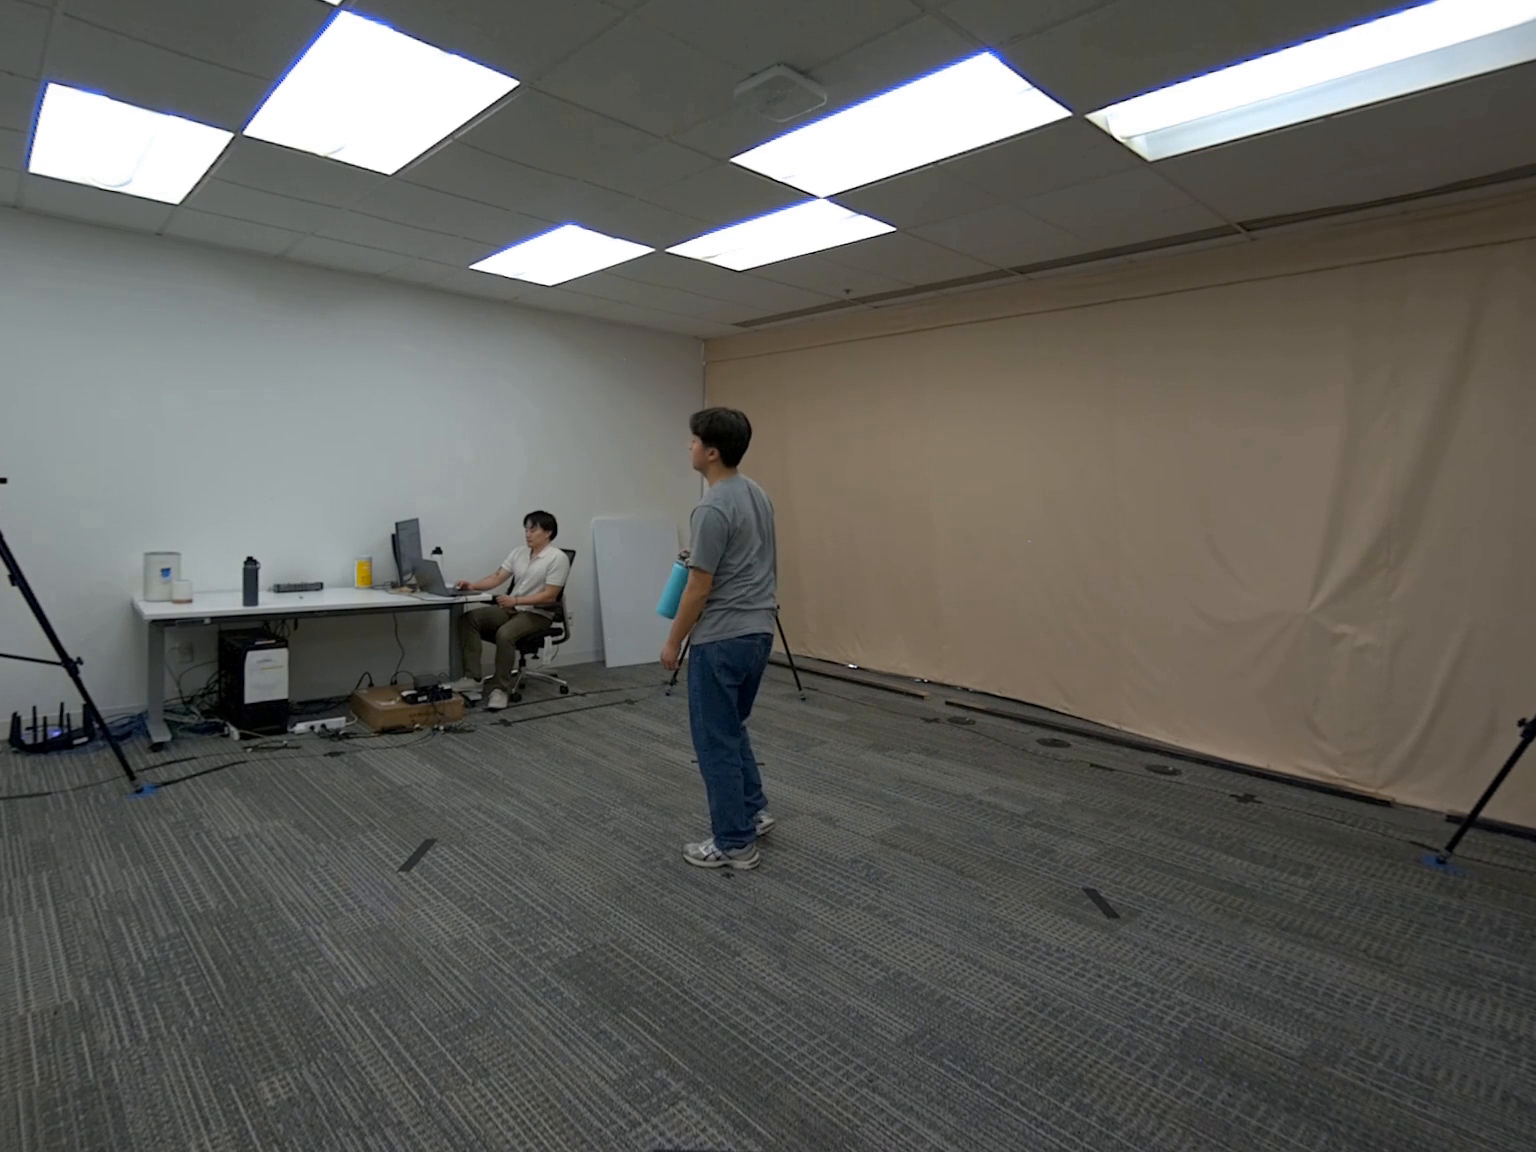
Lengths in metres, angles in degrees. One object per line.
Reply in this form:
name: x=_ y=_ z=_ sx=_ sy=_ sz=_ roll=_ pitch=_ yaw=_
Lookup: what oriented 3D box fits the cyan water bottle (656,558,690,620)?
cyan water bottle: x=-0.390 y=0.053 z=3.575 sx=0.092 sy=0.283 sz=0.092 roll=20 pitch=-2 yaw=-1
